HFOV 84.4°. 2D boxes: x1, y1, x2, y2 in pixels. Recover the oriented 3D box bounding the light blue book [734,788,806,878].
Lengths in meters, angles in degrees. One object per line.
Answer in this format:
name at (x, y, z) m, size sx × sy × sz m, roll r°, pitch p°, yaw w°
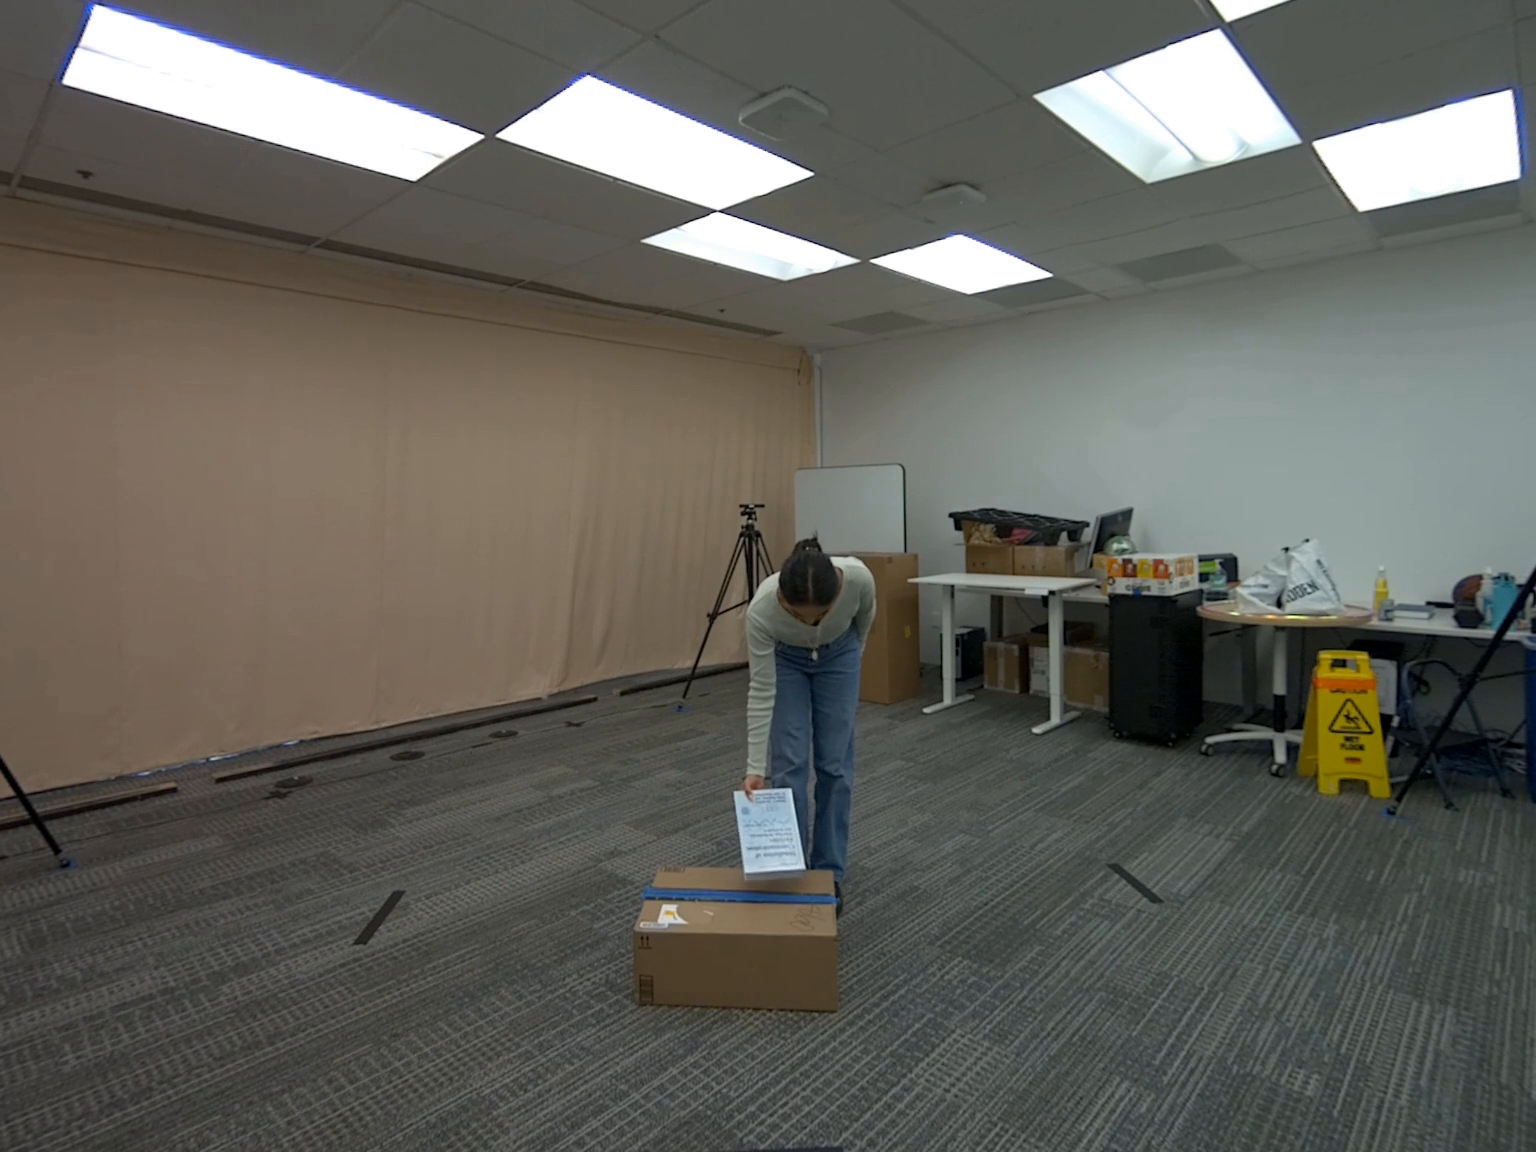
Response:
light blue book at (0.008, 0.795, 2.606) m, size 0.189 × 0.267 × 0.058 m, roll -2°, pitch -42°, yaw -11°
